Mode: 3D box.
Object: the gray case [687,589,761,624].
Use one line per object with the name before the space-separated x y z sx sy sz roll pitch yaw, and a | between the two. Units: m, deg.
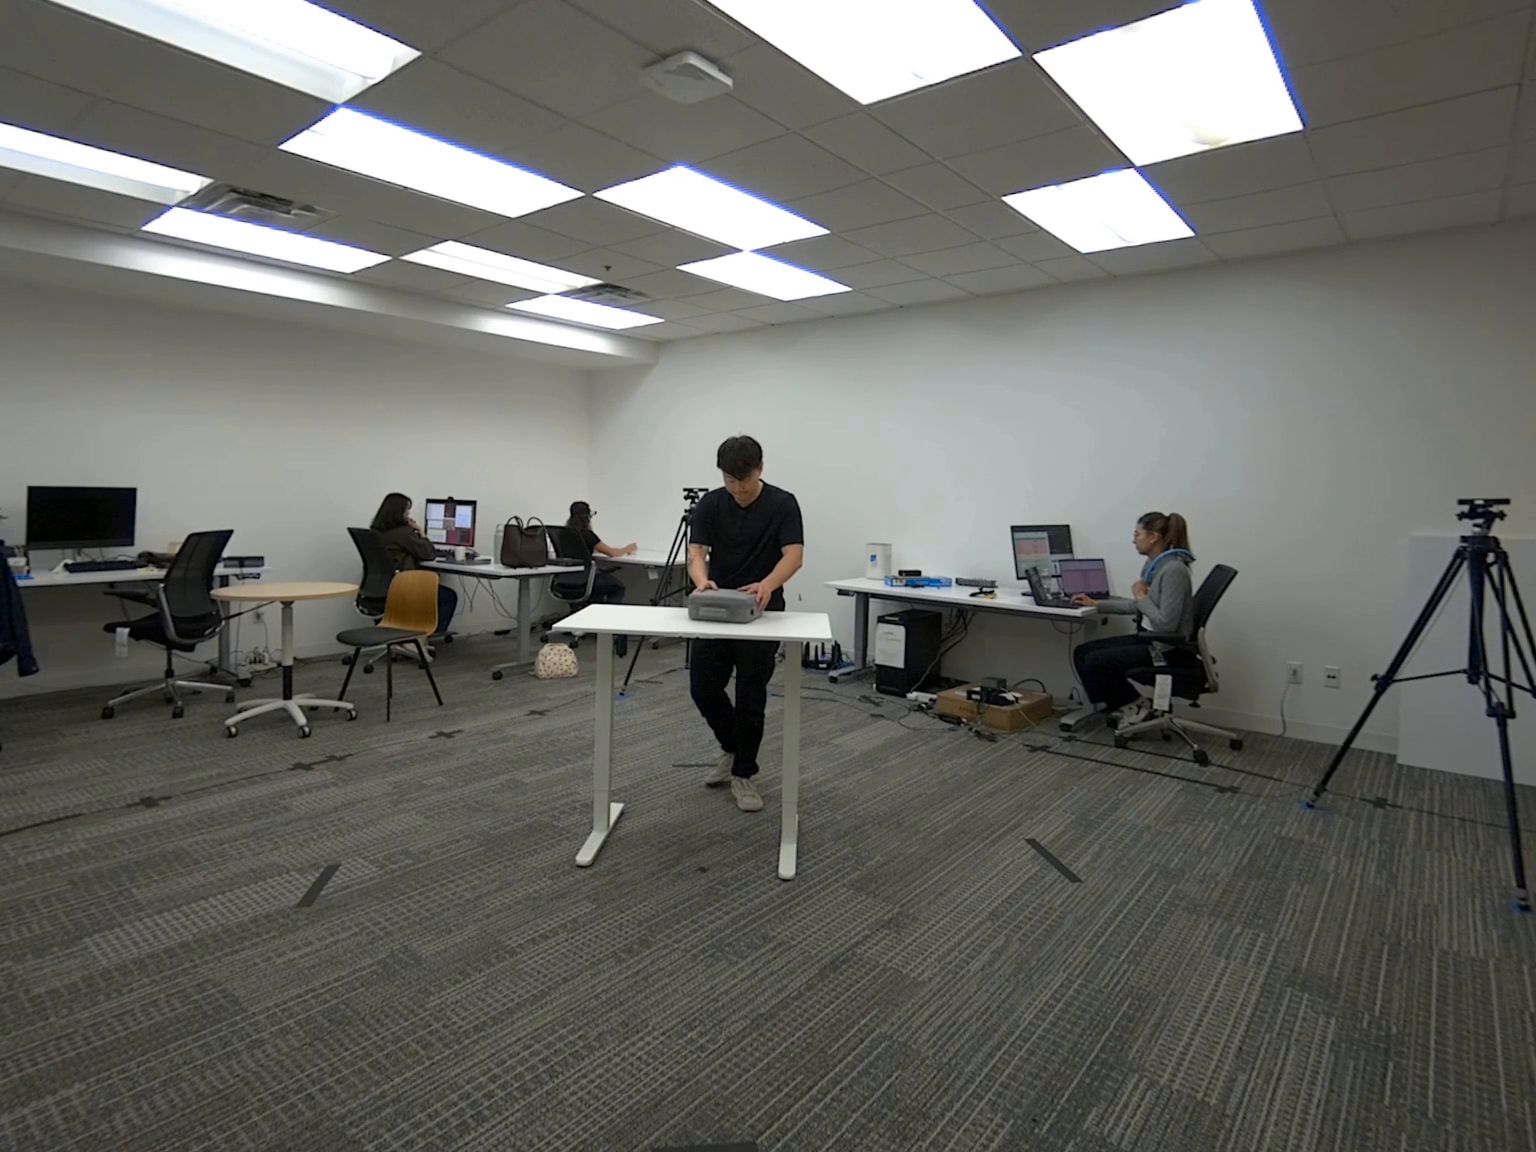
gray case | -0.184 0.113 3.360 0.262 0.104 0.256 4 5 17
